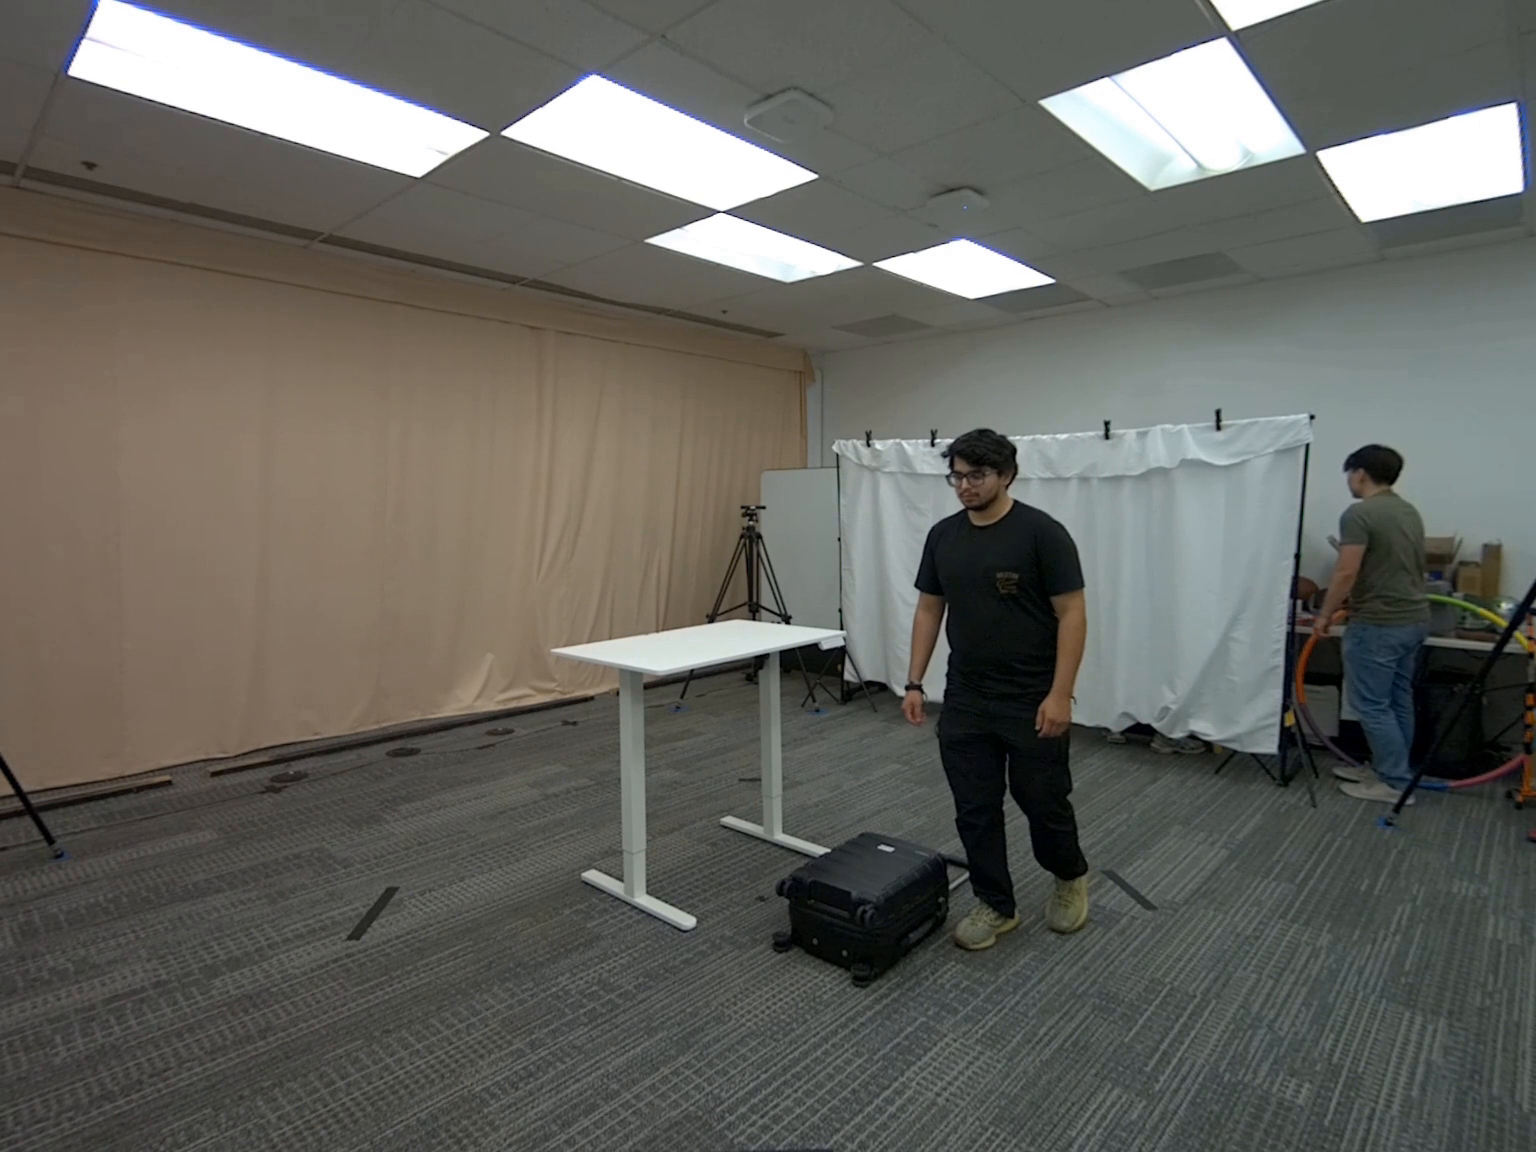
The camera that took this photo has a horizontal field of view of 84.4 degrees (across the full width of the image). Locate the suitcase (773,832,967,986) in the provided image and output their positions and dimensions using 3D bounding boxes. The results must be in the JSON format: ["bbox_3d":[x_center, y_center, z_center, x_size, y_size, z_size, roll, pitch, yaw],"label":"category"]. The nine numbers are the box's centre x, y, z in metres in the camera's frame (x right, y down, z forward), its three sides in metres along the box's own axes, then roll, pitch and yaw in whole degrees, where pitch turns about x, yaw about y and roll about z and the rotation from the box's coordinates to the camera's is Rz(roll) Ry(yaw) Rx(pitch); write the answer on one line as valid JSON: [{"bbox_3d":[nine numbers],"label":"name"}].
[{"bbox_3d":[0.459,1.025,2.873,0.396,0.256,0.950,2,6,39],"label":"suitcase"}]
